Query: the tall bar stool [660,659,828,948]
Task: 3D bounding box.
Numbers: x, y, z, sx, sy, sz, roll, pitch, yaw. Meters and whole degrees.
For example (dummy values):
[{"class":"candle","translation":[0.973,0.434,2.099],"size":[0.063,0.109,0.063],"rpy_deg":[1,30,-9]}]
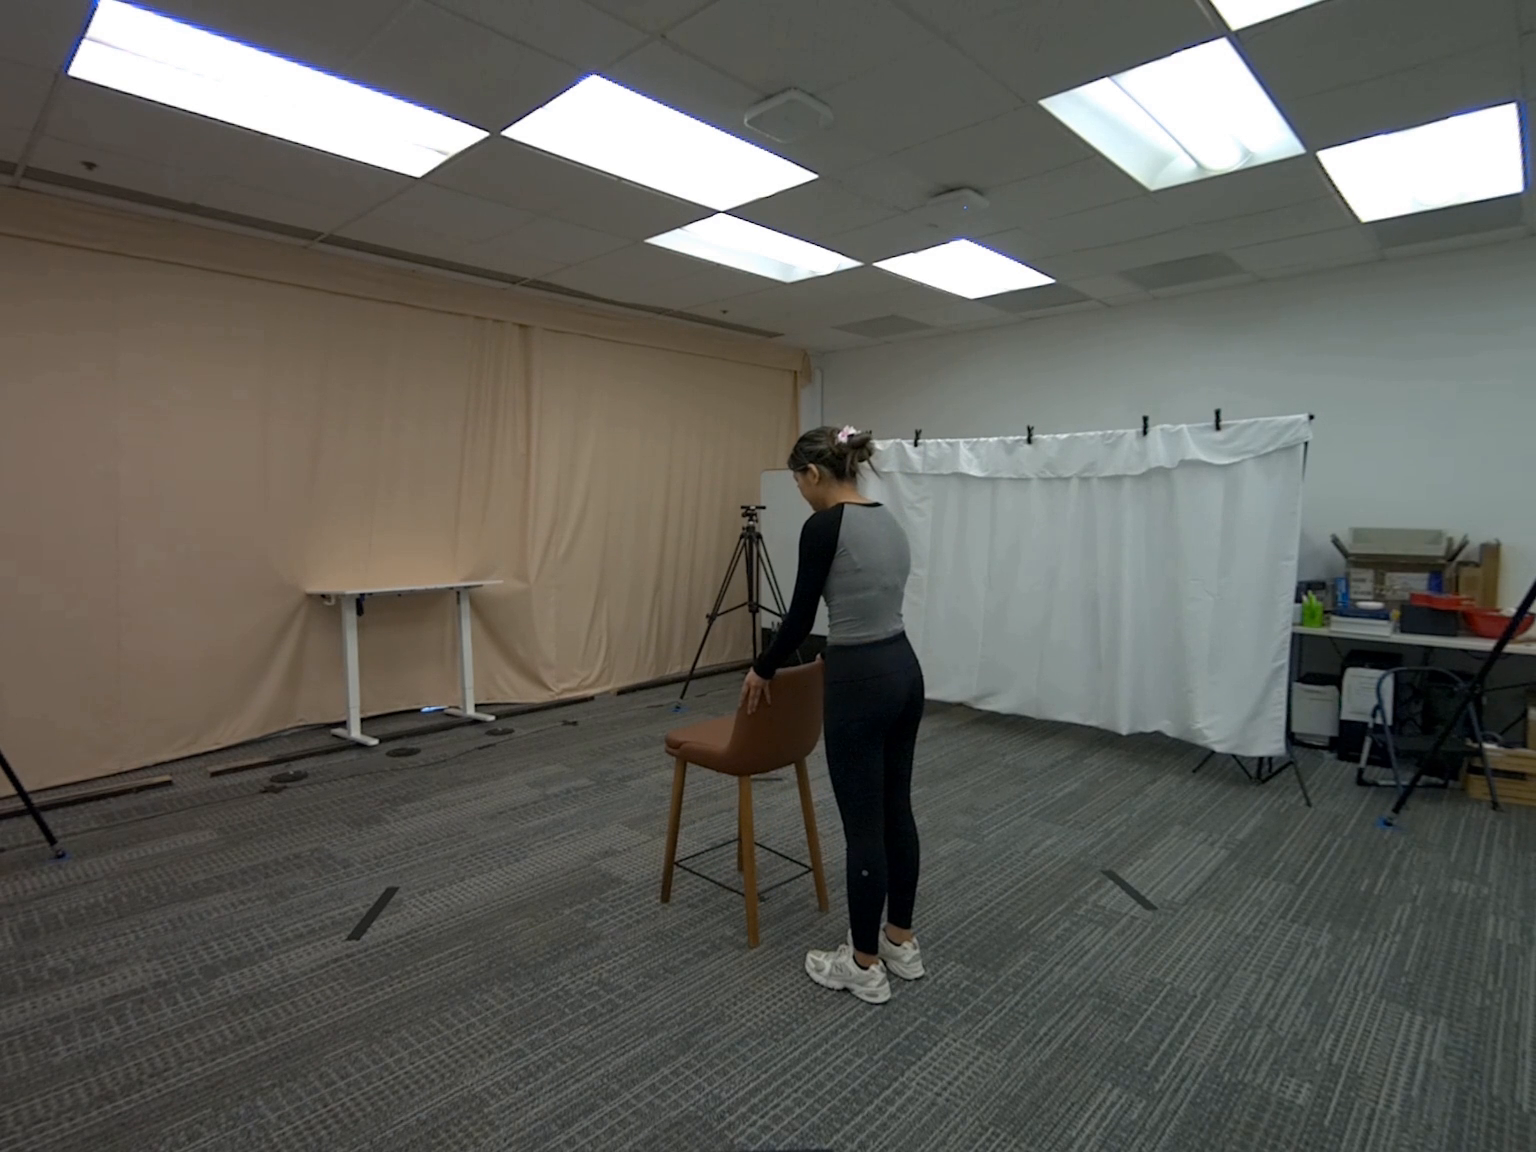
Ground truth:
[{"class":"tall bar stool","translation":[-0.069,0.711,2.905],"size":[0.442,0.887,0.484],"rpy_deg":[-3,7,-45]}]
